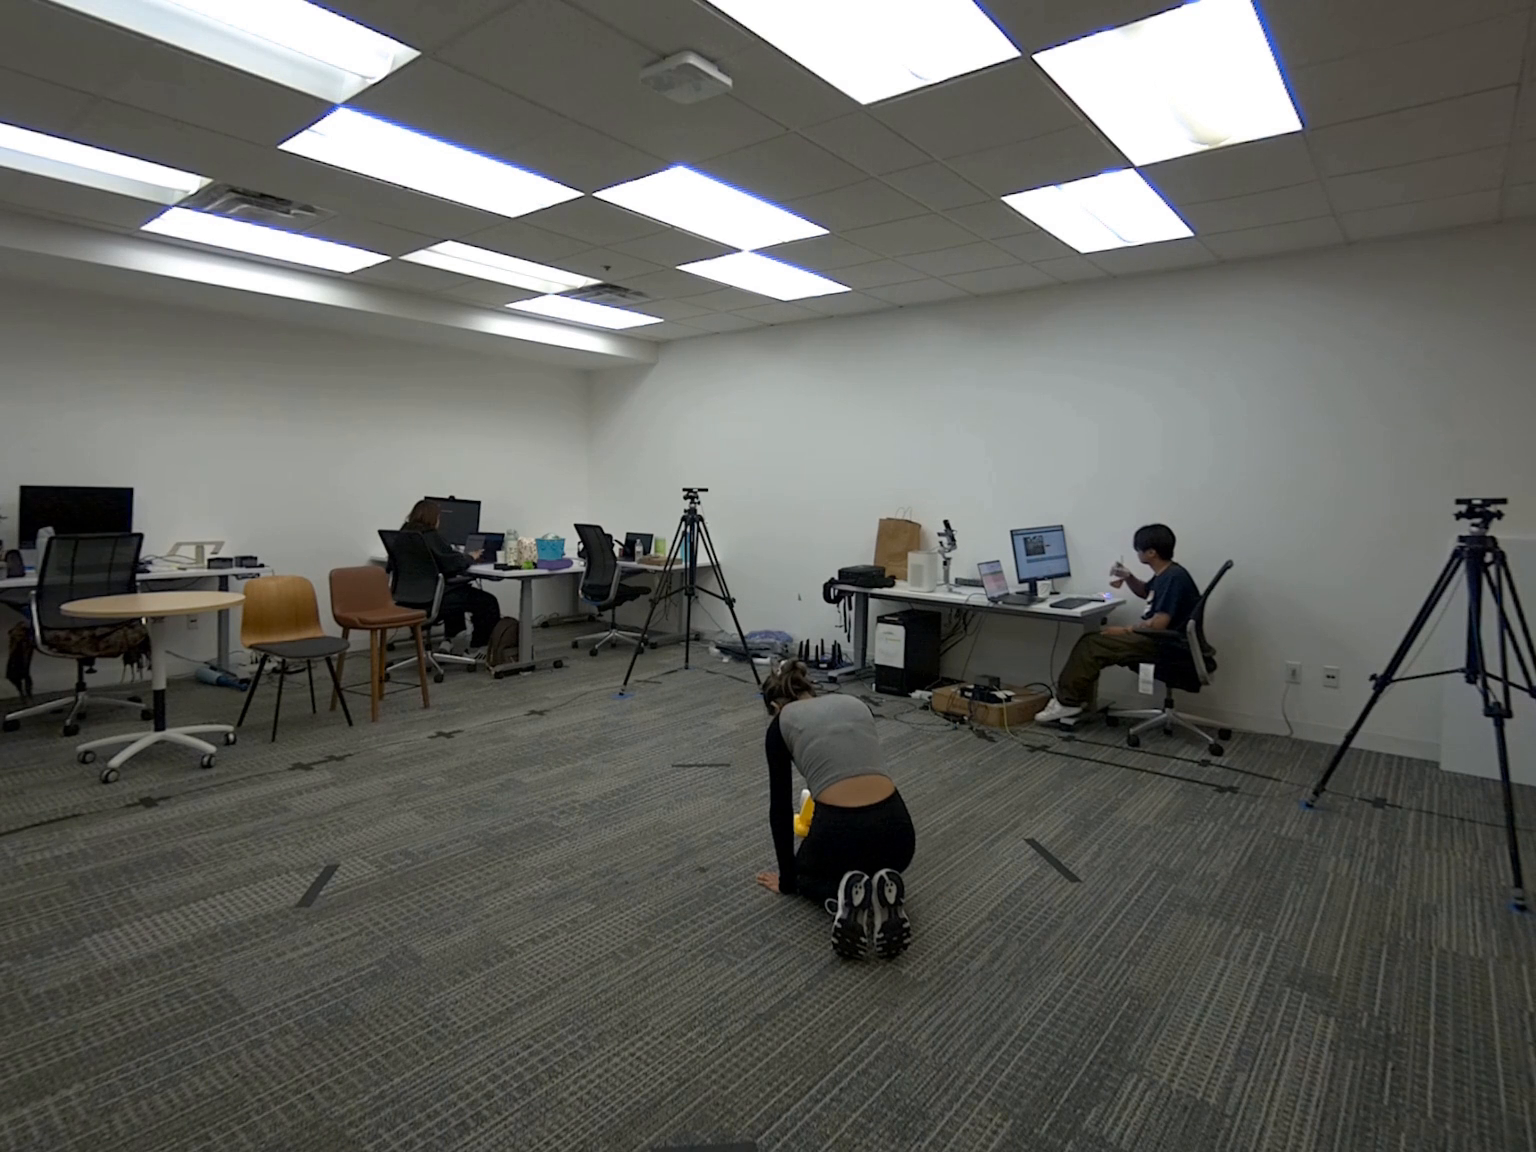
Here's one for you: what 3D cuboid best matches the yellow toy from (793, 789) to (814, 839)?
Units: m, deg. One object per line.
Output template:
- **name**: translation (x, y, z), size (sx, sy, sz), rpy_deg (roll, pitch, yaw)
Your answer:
- **yellow toy**: translation (0.193, 0.920, 3.492), size (0.202, 0.229, 0.196), rpy_deg (0, 6, -12)
